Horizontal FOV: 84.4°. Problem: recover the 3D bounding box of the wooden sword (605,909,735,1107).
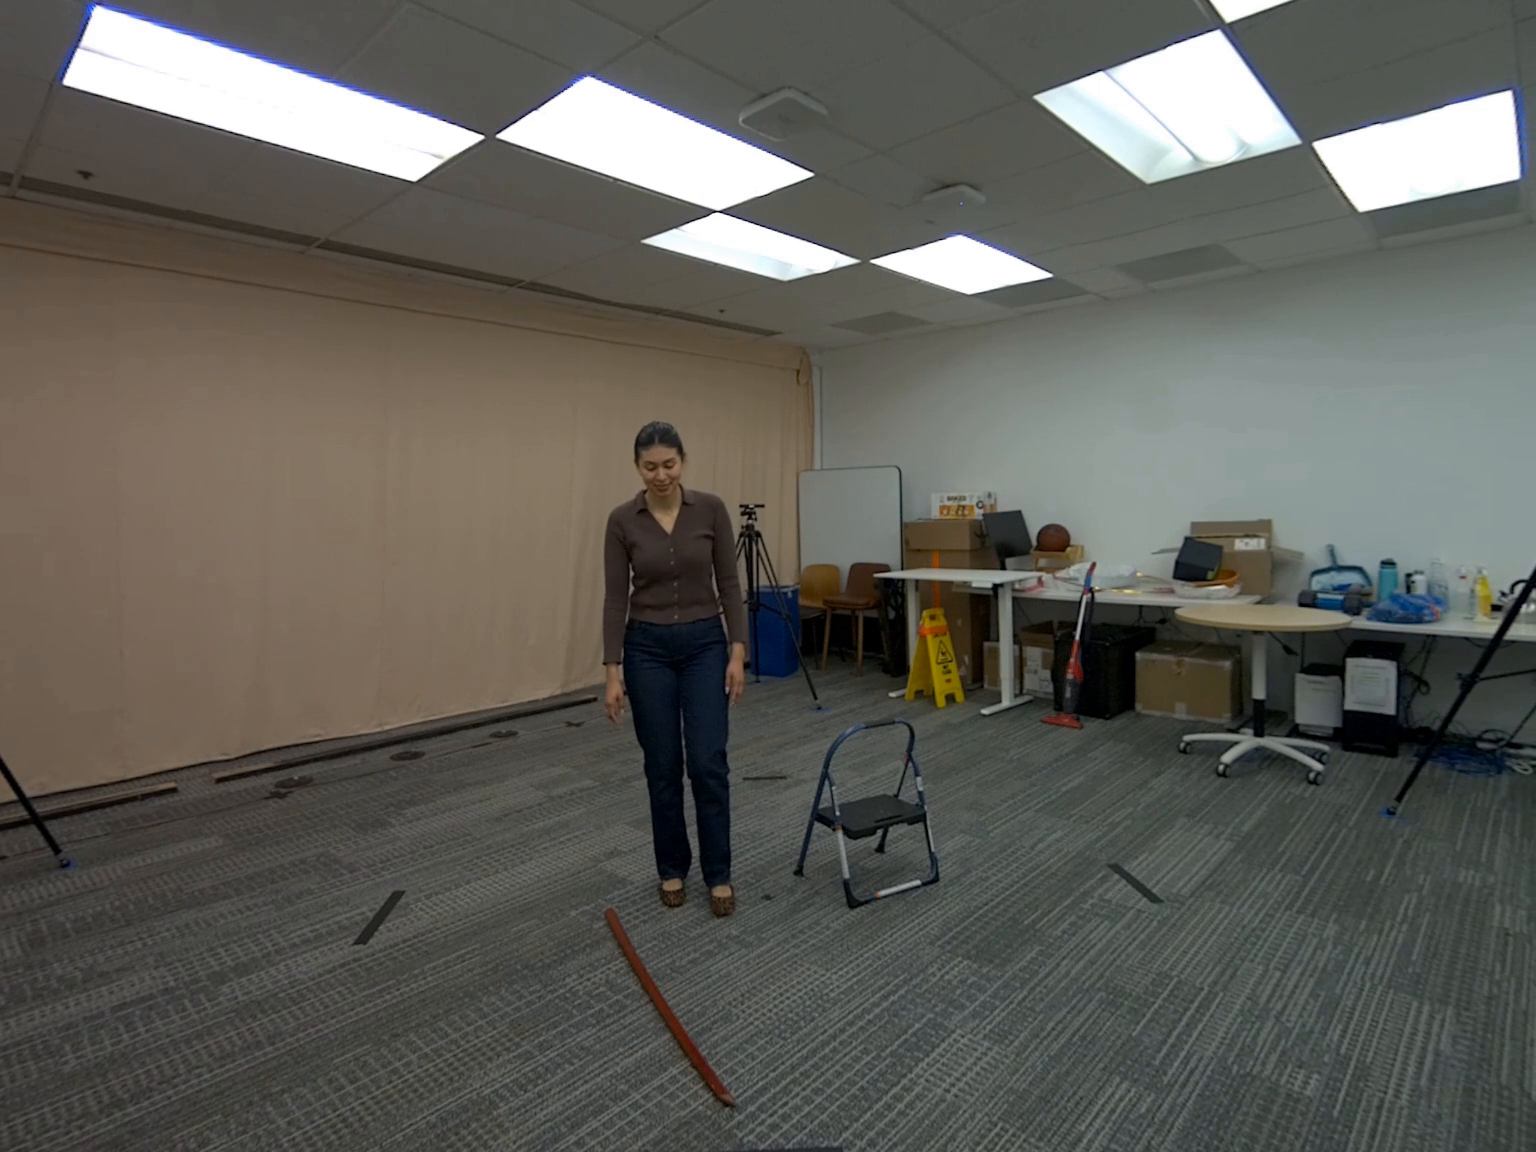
[{"bbox_3d":[-0.313,1.174,2.417,0.050,0.024,1.051,-12,9,-24],"label":"wooden sword"}]
